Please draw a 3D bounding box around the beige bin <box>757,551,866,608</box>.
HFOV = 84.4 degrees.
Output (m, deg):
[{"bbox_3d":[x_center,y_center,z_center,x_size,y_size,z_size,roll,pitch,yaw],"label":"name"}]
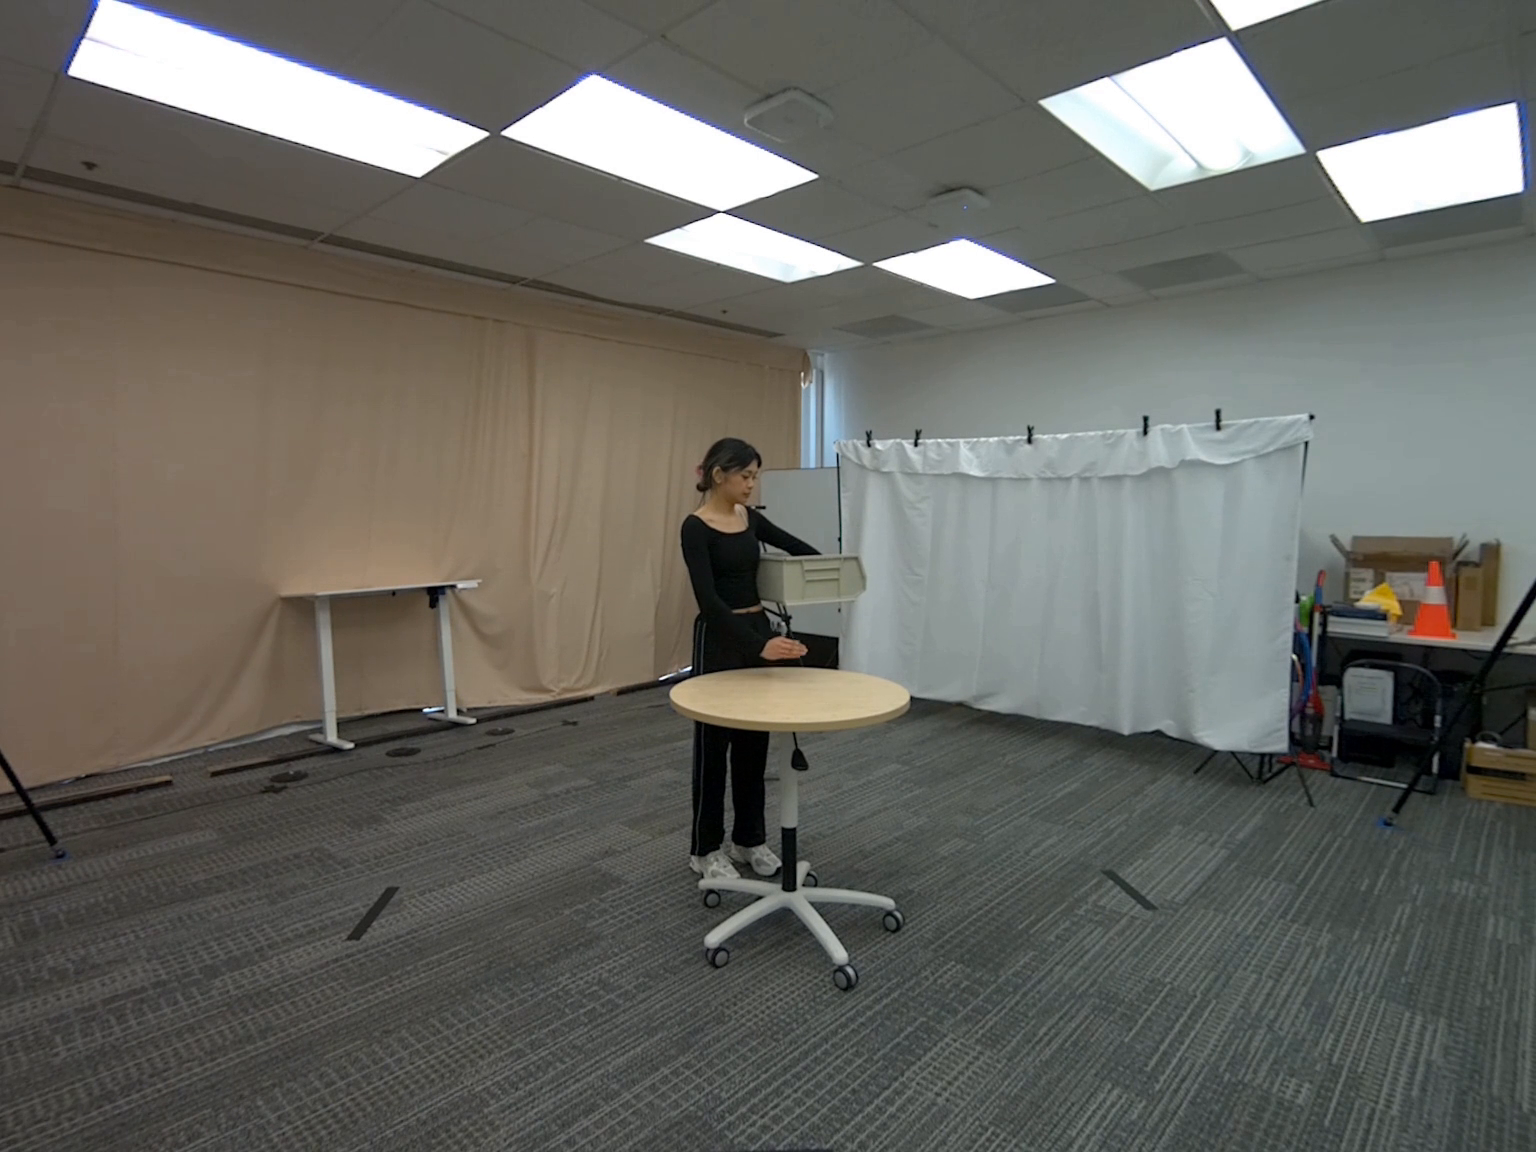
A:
[{"bbox_3d":[0.118,0.005,3.317,0.367,0.188,0.434,-3,4,-30],"label":"beige bin"}]
